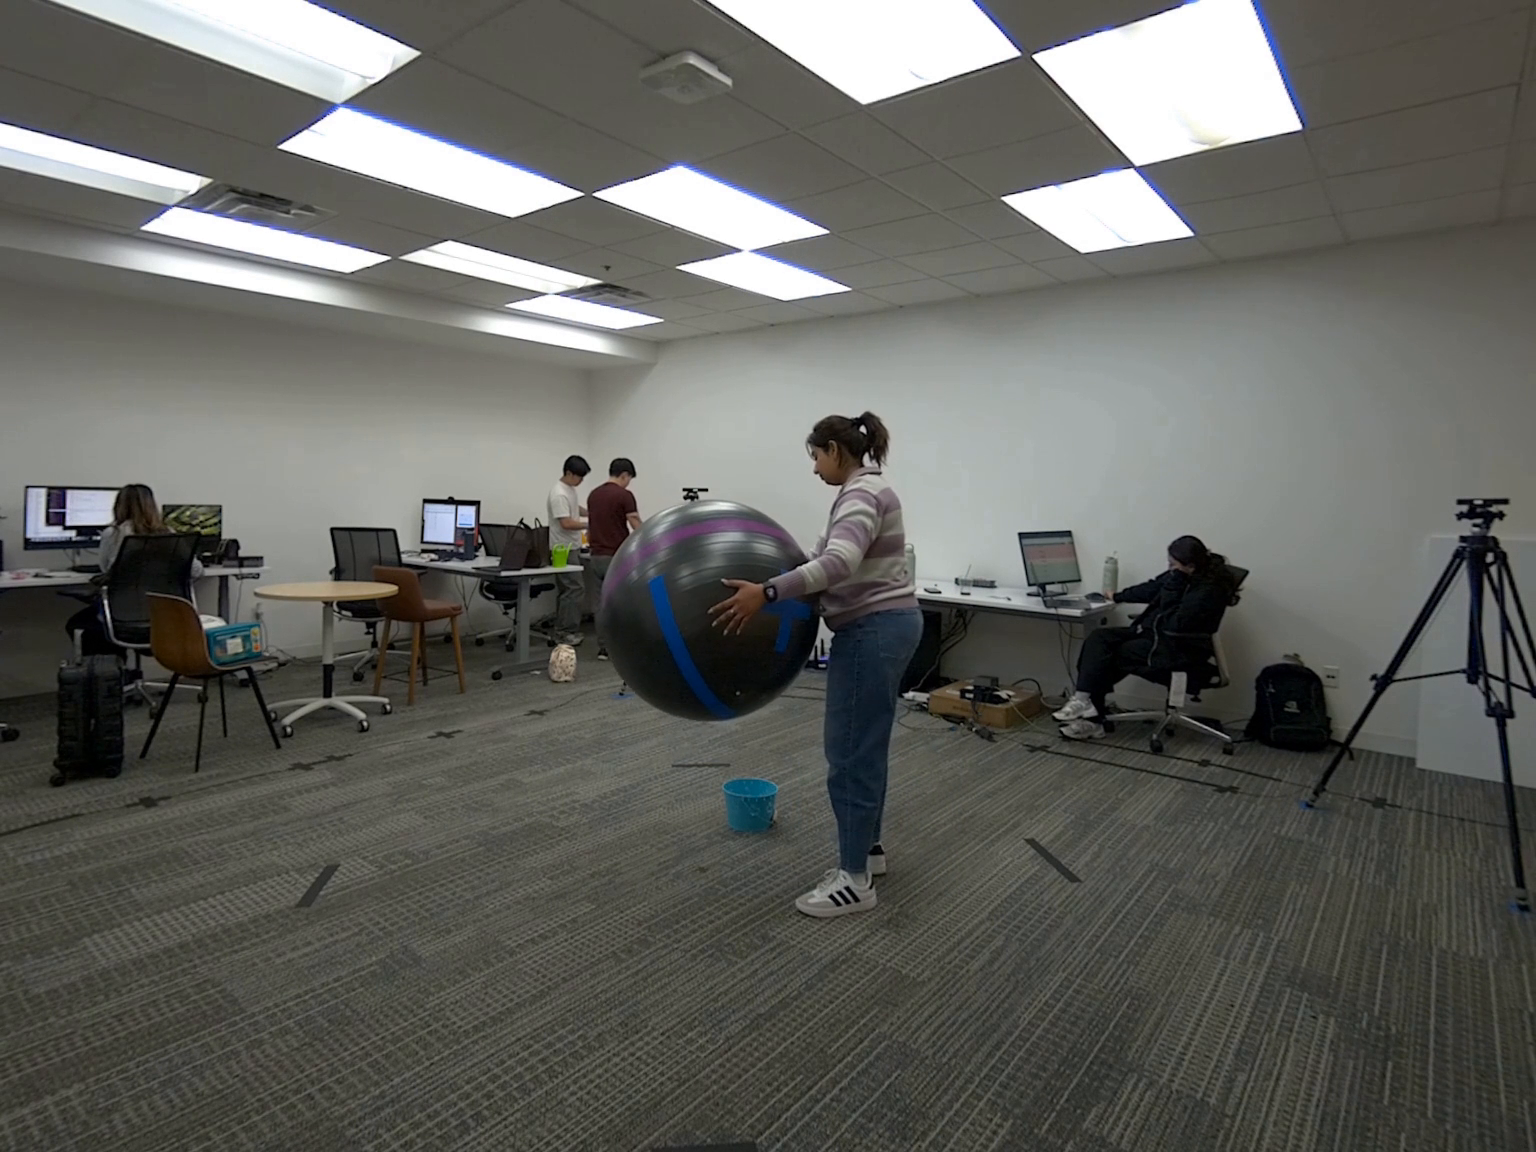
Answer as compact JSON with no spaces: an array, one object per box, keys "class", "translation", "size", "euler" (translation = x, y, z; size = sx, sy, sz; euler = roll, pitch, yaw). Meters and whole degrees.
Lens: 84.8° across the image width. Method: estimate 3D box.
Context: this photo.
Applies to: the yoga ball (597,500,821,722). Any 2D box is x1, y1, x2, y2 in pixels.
[{"class":"yoga ball","translation":[-0.209,0.116,2.946],"size":[0.757,0.756,0.761],"euler":[1,4,-2]}]
